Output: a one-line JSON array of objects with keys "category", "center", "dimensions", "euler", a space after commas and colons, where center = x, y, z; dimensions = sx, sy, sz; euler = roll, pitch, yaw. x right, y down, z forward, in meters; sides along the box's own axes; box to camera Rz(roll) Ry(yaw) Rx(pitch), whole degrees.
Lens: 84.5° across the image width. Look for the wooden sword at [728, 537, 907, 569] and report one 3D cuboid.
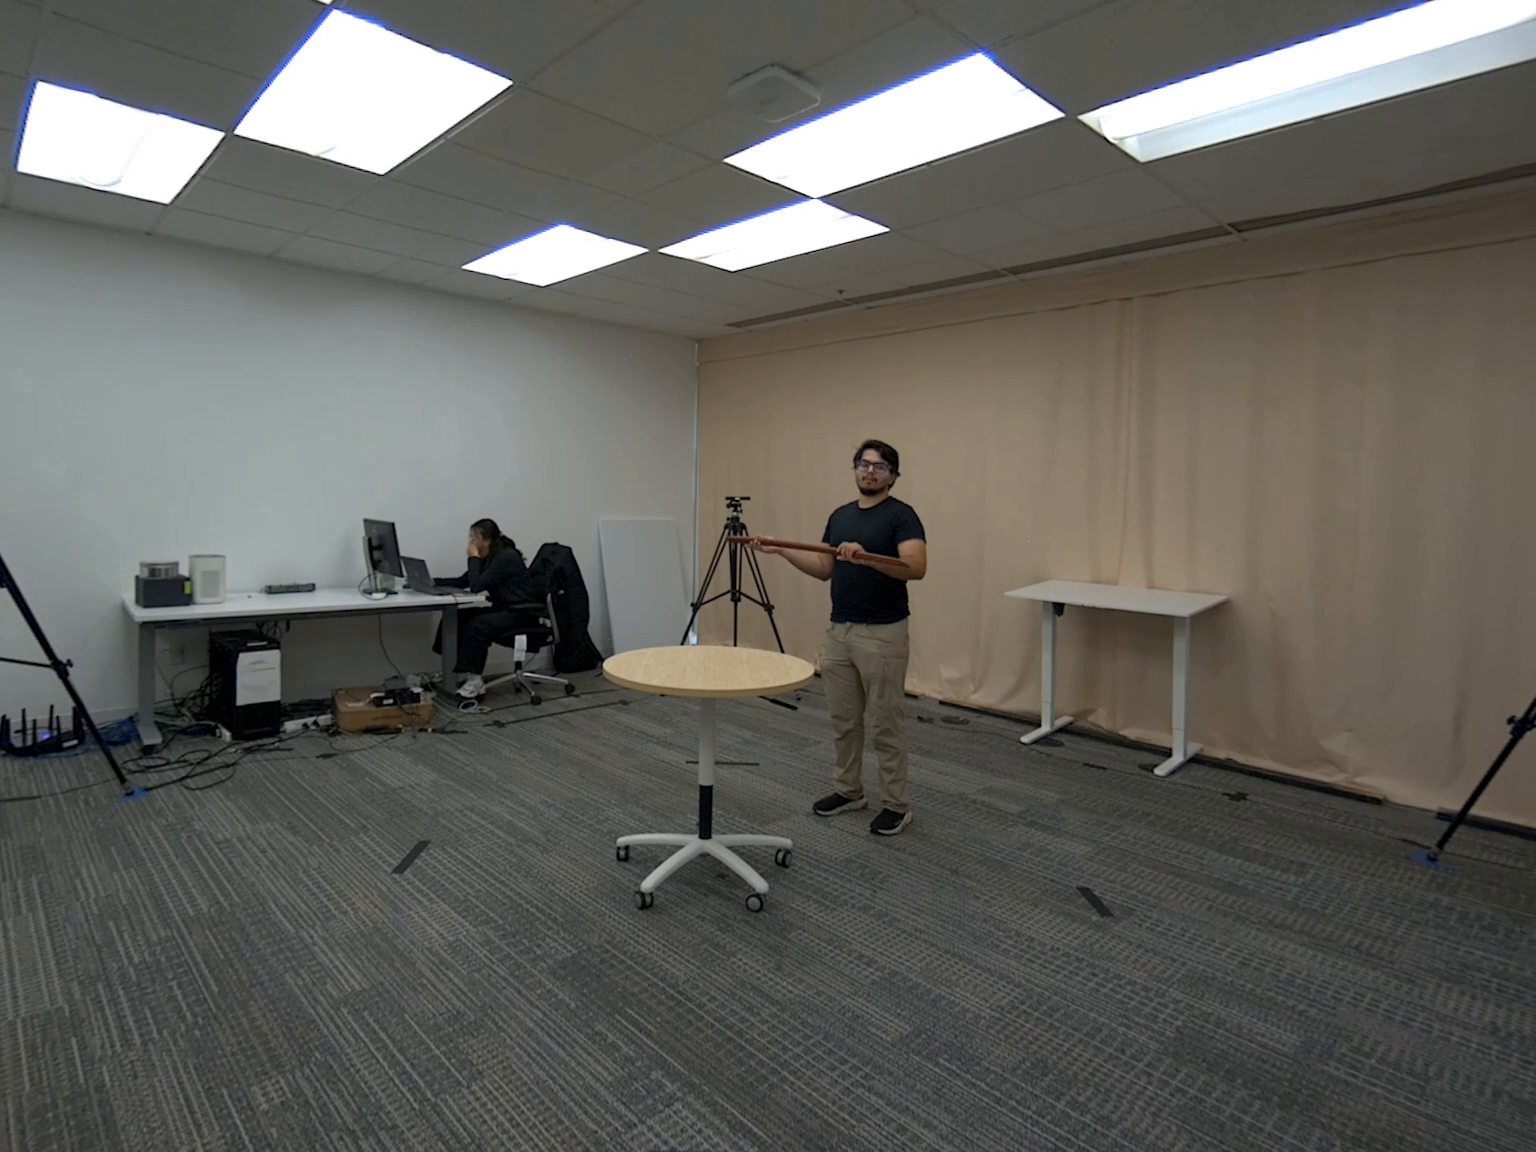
[{"category": "wooden sword", "center": [0.138, -0.115, 3.499], "dimensions": [0.050, 0.024, 1.053], "euler": [-4, 10, -42]}]
